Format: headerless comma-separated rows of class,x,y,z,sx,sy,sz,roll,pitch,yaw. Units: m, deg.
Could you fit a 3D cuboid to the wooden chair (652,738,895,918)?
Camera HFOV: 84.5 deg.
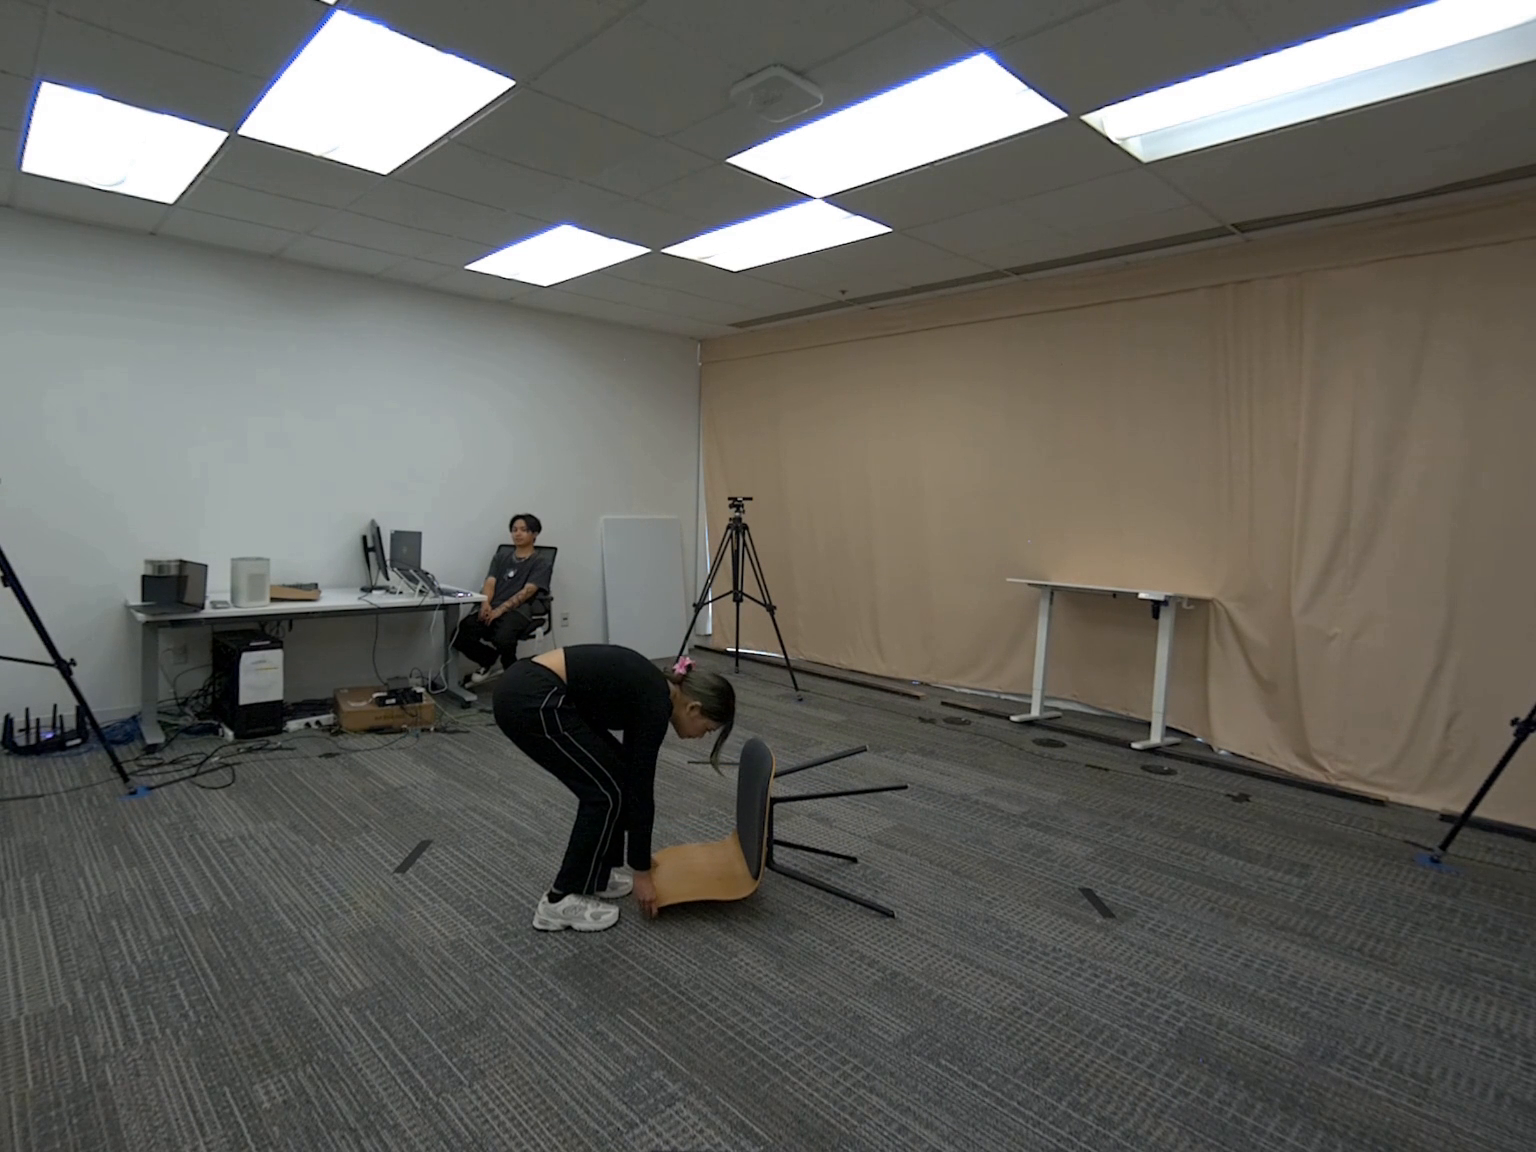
wooden chair,-0.021,0.858,2.960,0.871,0.522,0.483,0,4,-10
